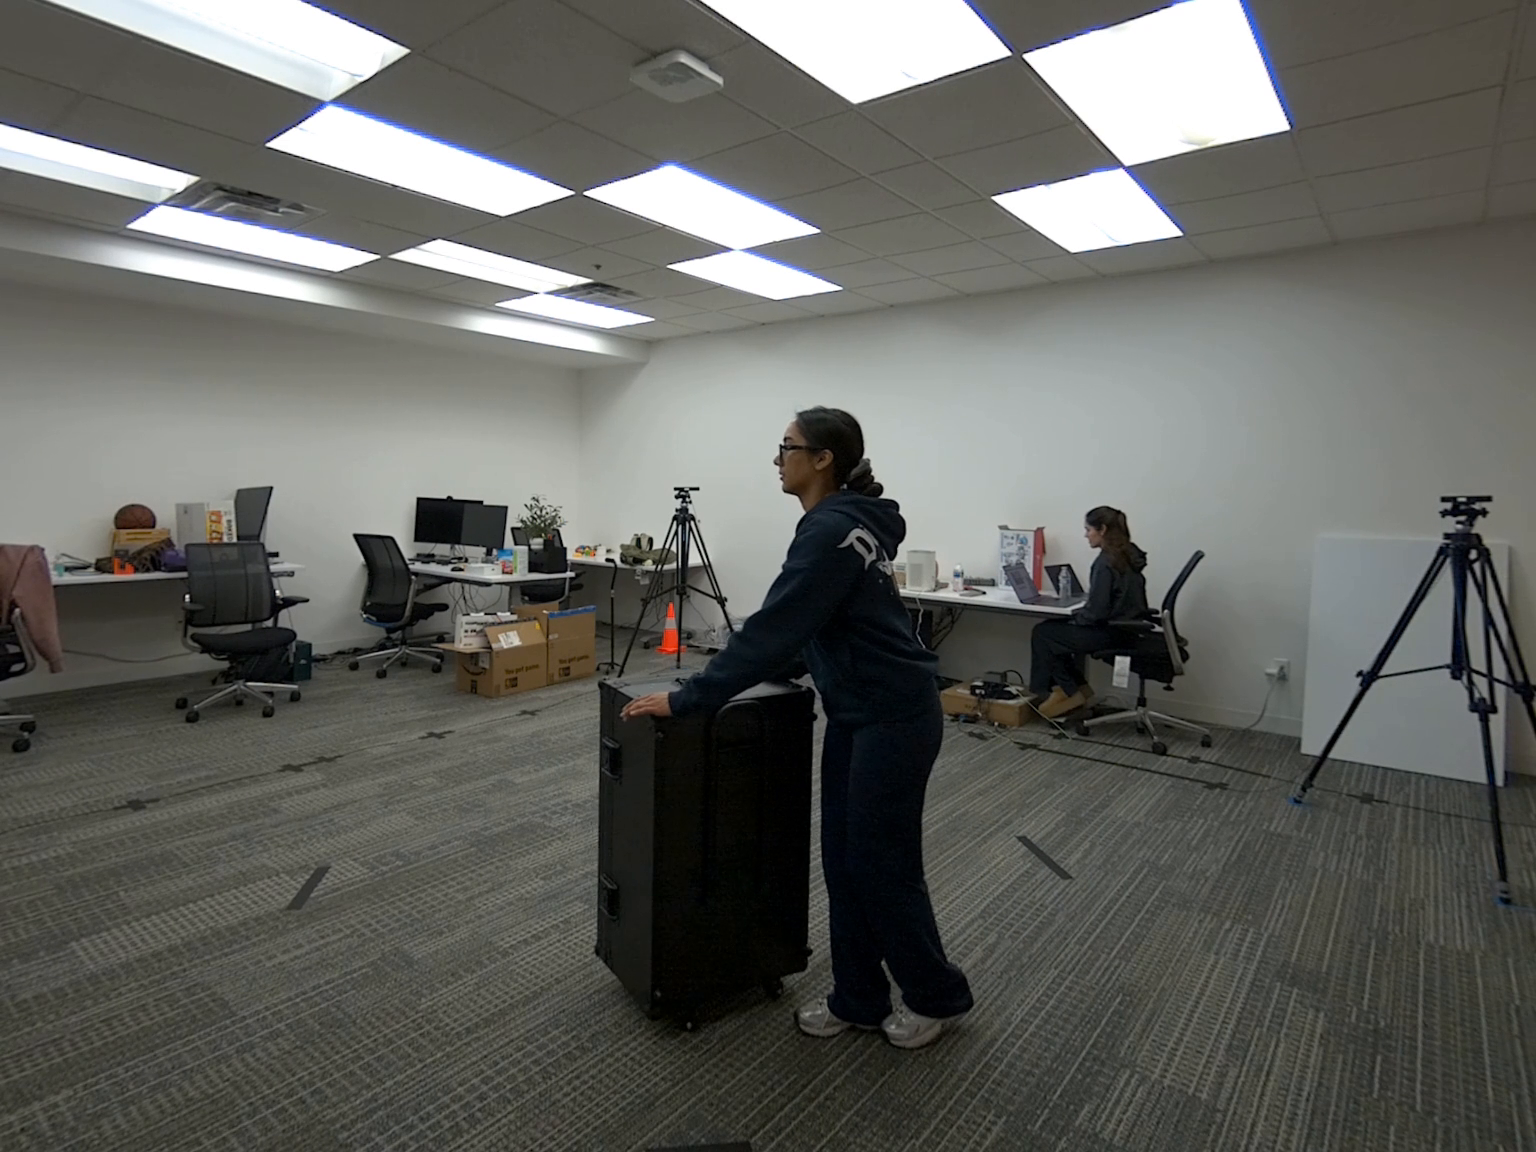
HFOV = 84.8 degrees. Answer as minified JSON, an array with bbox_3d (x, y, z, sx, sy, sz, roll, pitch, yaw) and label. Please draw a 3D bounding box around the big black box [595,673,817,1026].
[{"bbox_3d":[-0.180,0.722,2.344,0.507,0.858,0.409,-1,5,-32],"label":"big black box"}]
